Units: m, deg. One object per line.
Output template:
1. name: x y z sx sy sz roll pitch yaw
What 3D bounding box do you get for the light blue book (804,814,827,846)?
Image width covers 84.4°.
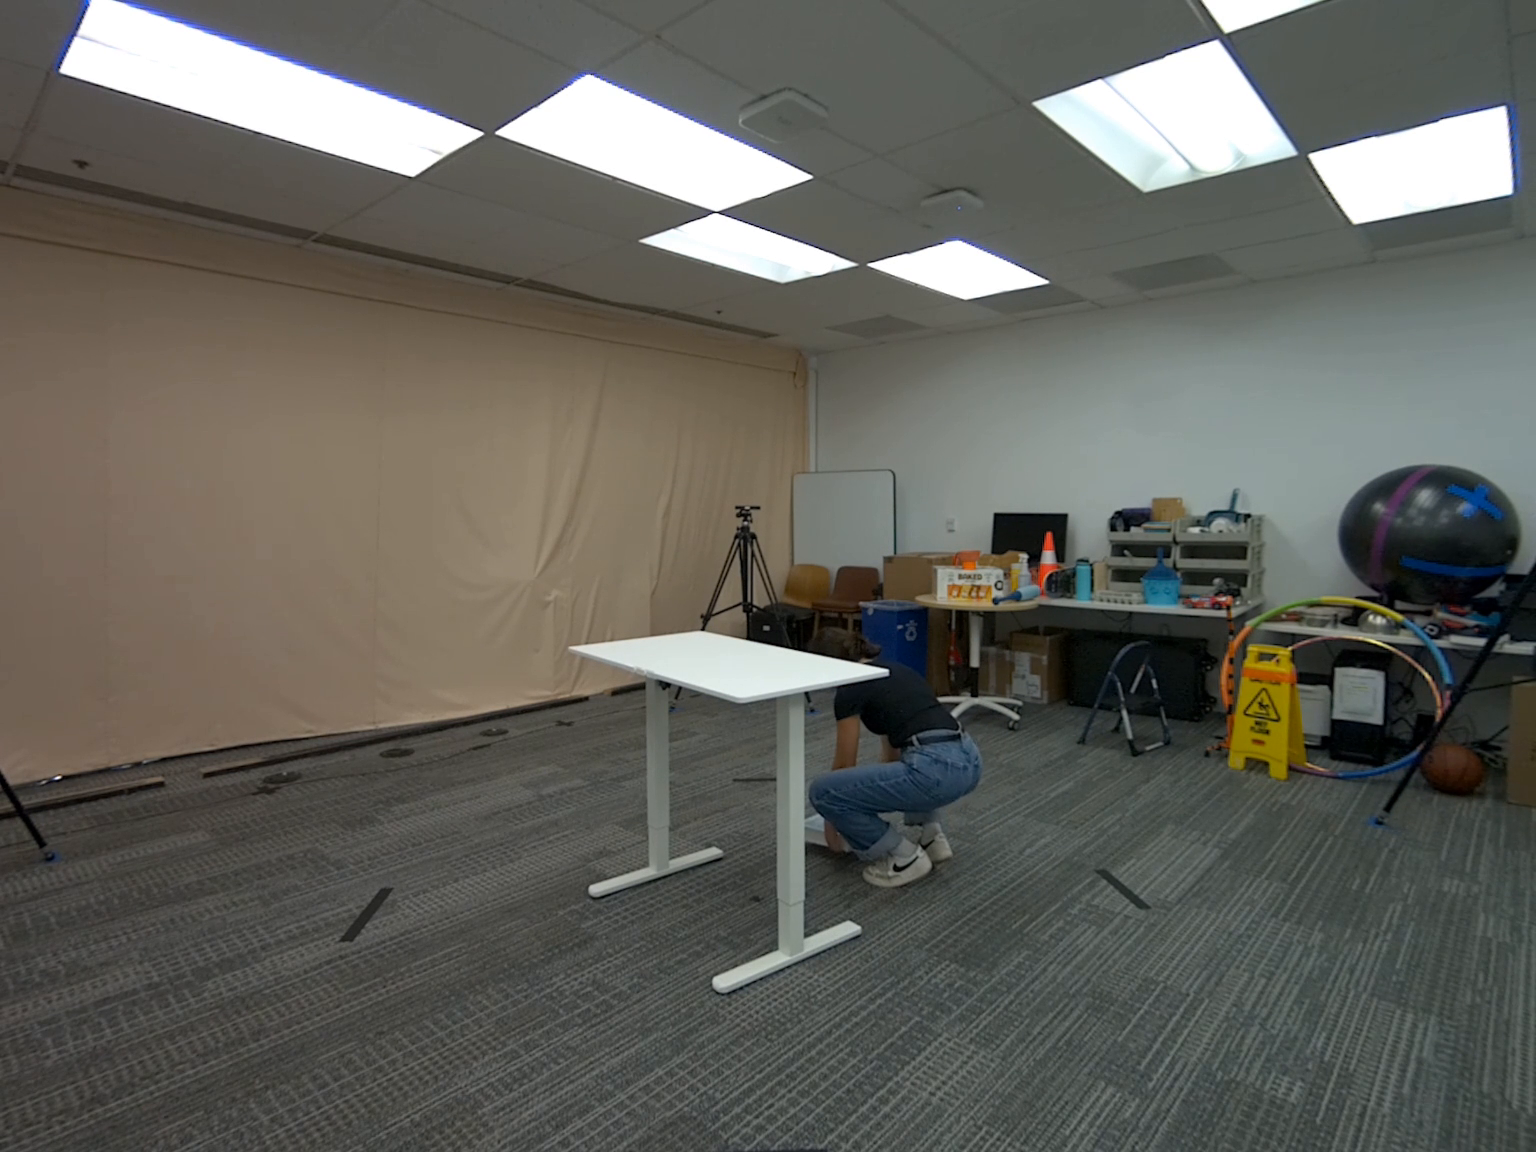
1. light blue book: 0.269 1.035 3.406 0.269 0.059 0.185 1 3 40
